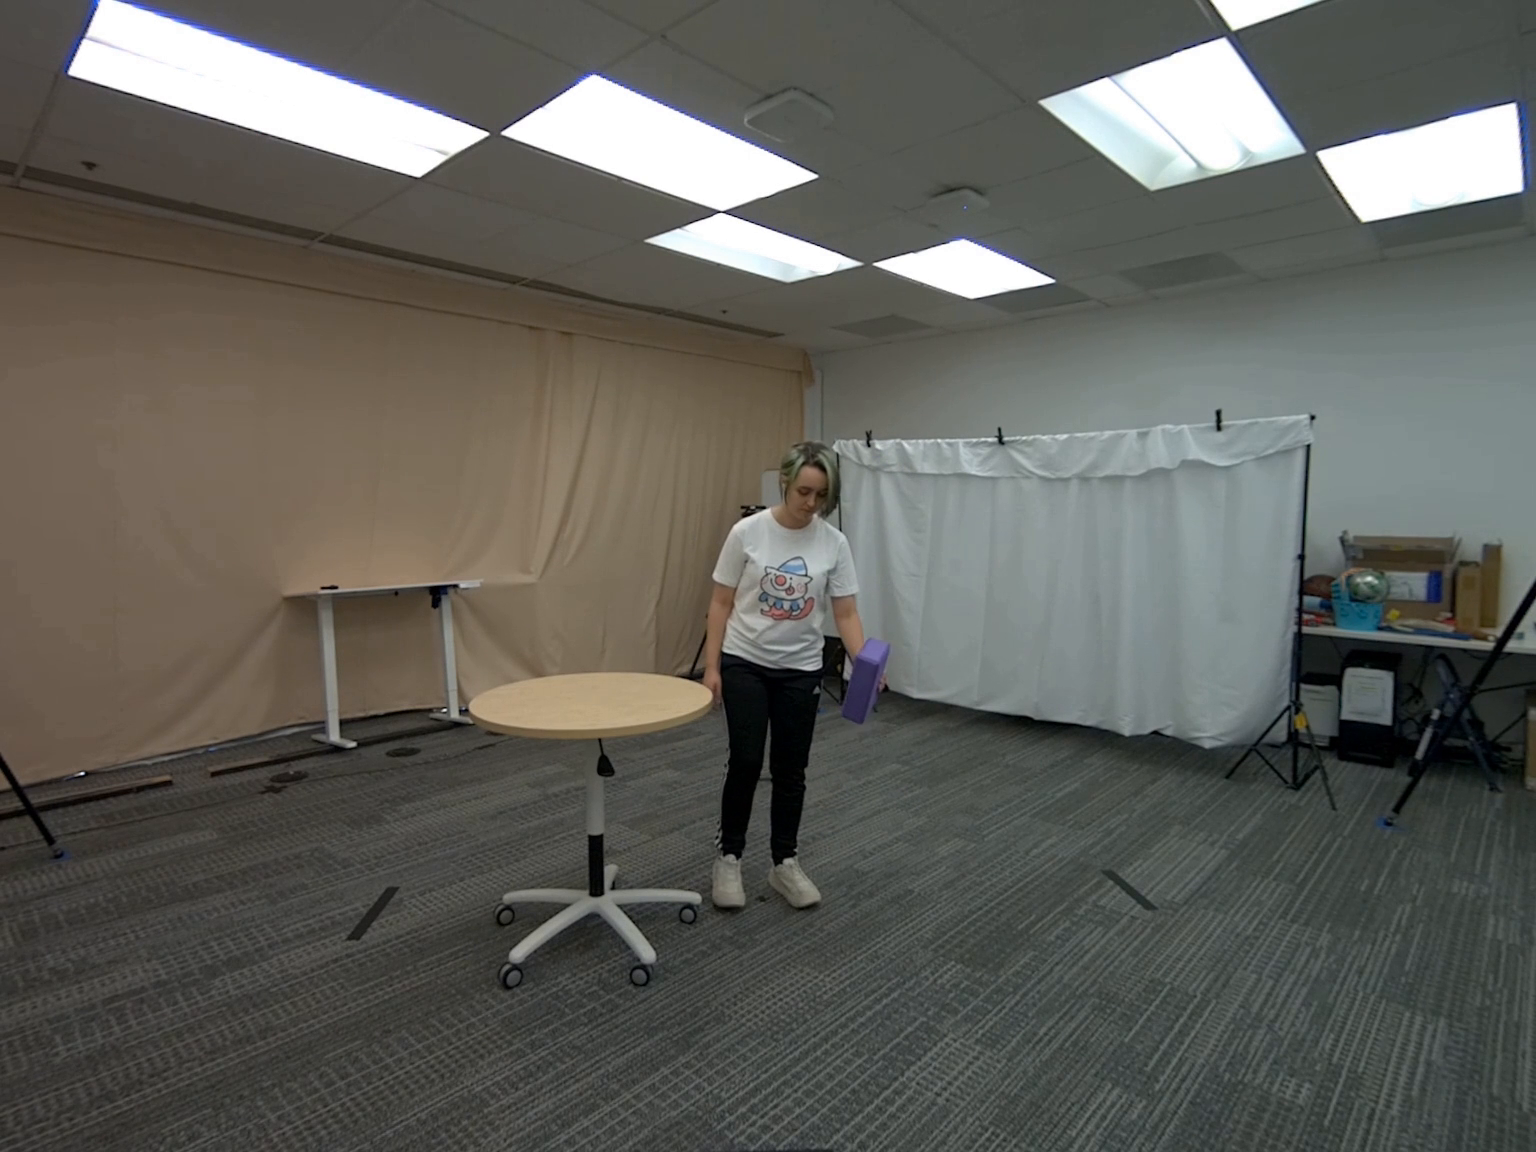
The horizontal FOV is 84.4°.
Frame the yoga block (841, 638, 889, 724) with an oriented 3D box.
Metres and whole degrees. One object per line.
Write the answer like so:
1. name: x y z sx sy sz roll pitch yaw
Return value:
1. yoga block: 0.304 0.324 2.620 0.077 0.227 0.148 14 22 11
